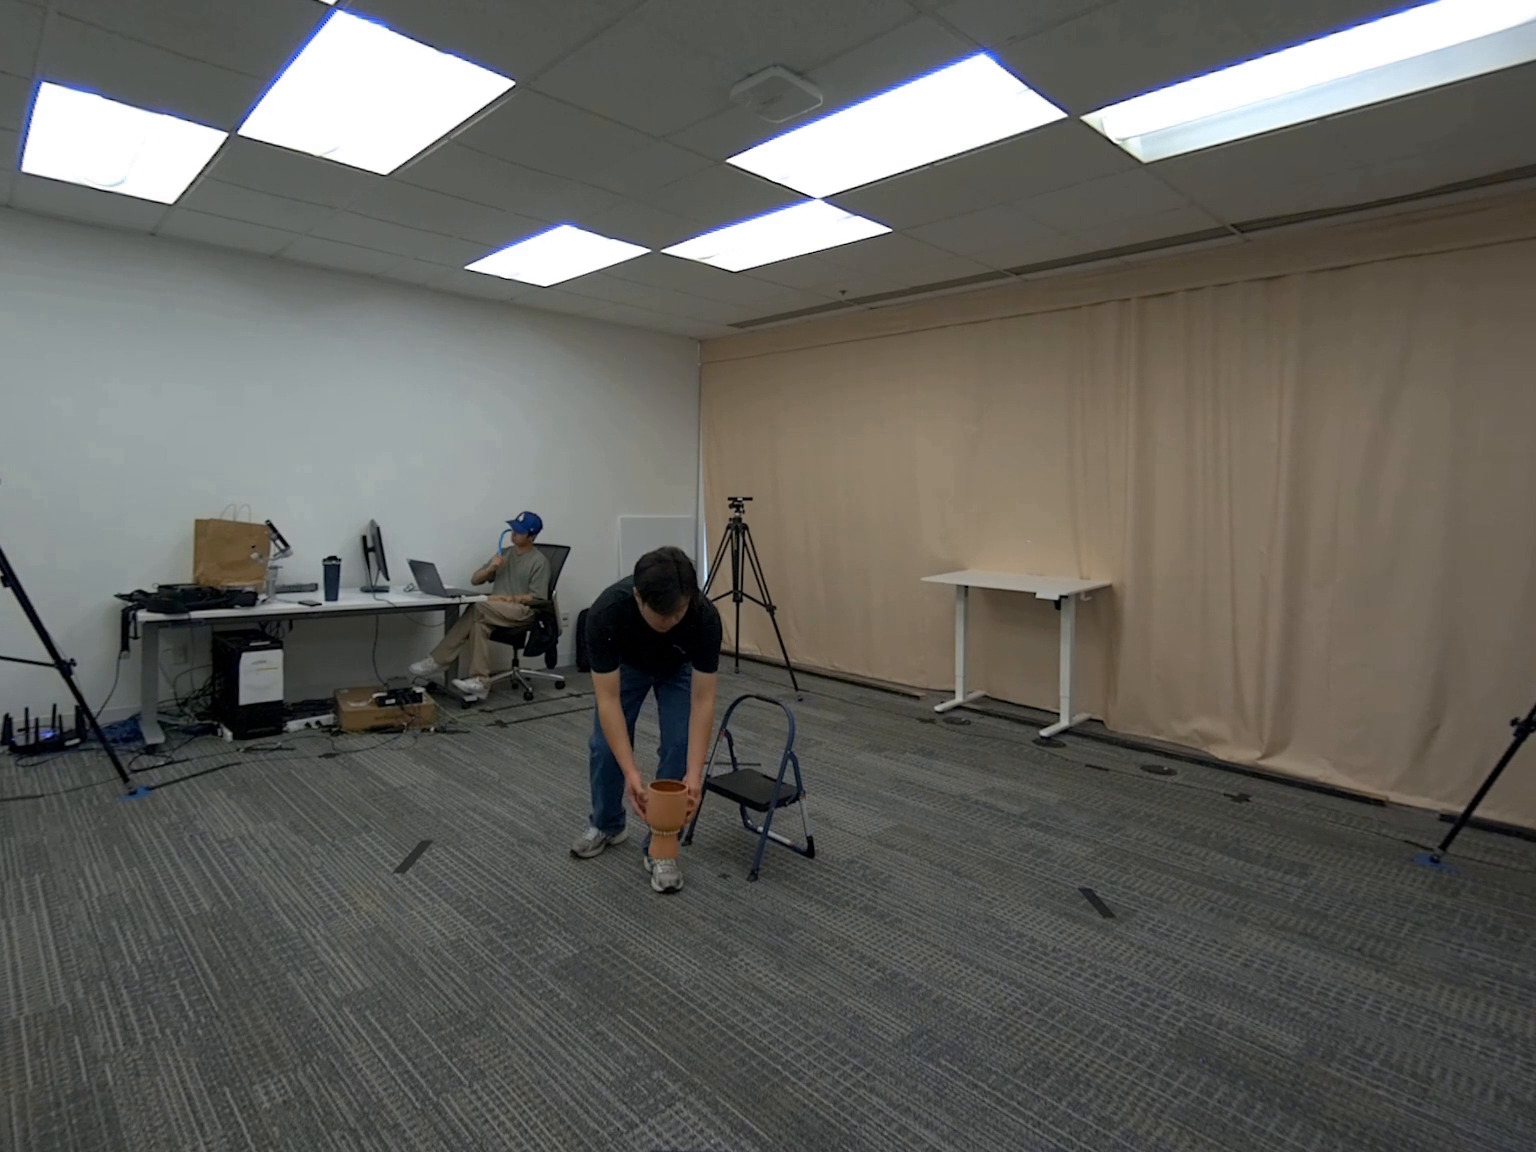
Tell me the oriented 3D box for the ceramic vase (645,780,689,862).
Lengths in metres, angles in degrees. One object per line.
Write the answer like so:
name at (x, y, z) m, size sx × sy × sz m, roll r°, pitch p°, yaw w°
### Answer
ceramic vase at (-0.354, 0.782, 2.710) m, size 0.163 × 0.219 × 0.131 m, roll 6°, pitch 4°, yaw 40°
